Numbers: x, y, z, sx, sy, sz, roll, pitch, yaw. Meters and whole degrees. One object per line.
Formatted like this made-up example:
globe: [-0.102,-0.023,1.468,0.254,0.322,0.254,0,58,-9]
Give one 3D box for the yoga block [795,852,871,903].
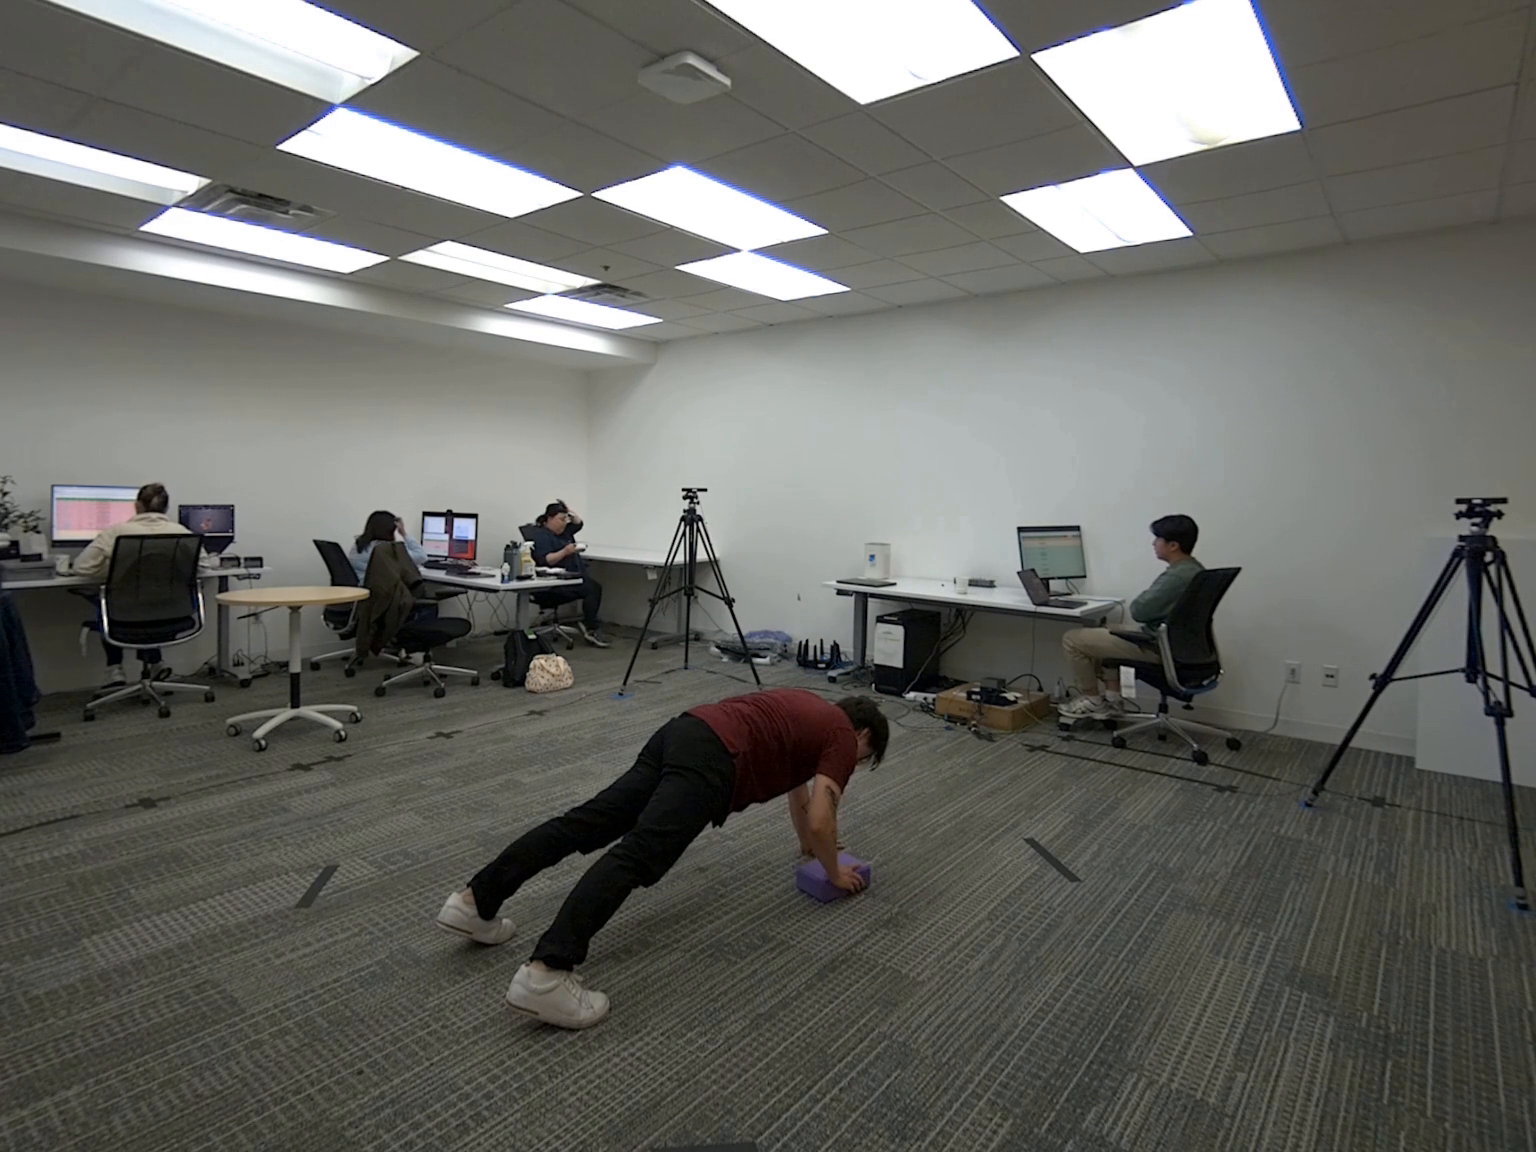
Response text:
yoga block: [0.220,1.047,2.984,0.222,0.076,0.154,-1,5,-38]
